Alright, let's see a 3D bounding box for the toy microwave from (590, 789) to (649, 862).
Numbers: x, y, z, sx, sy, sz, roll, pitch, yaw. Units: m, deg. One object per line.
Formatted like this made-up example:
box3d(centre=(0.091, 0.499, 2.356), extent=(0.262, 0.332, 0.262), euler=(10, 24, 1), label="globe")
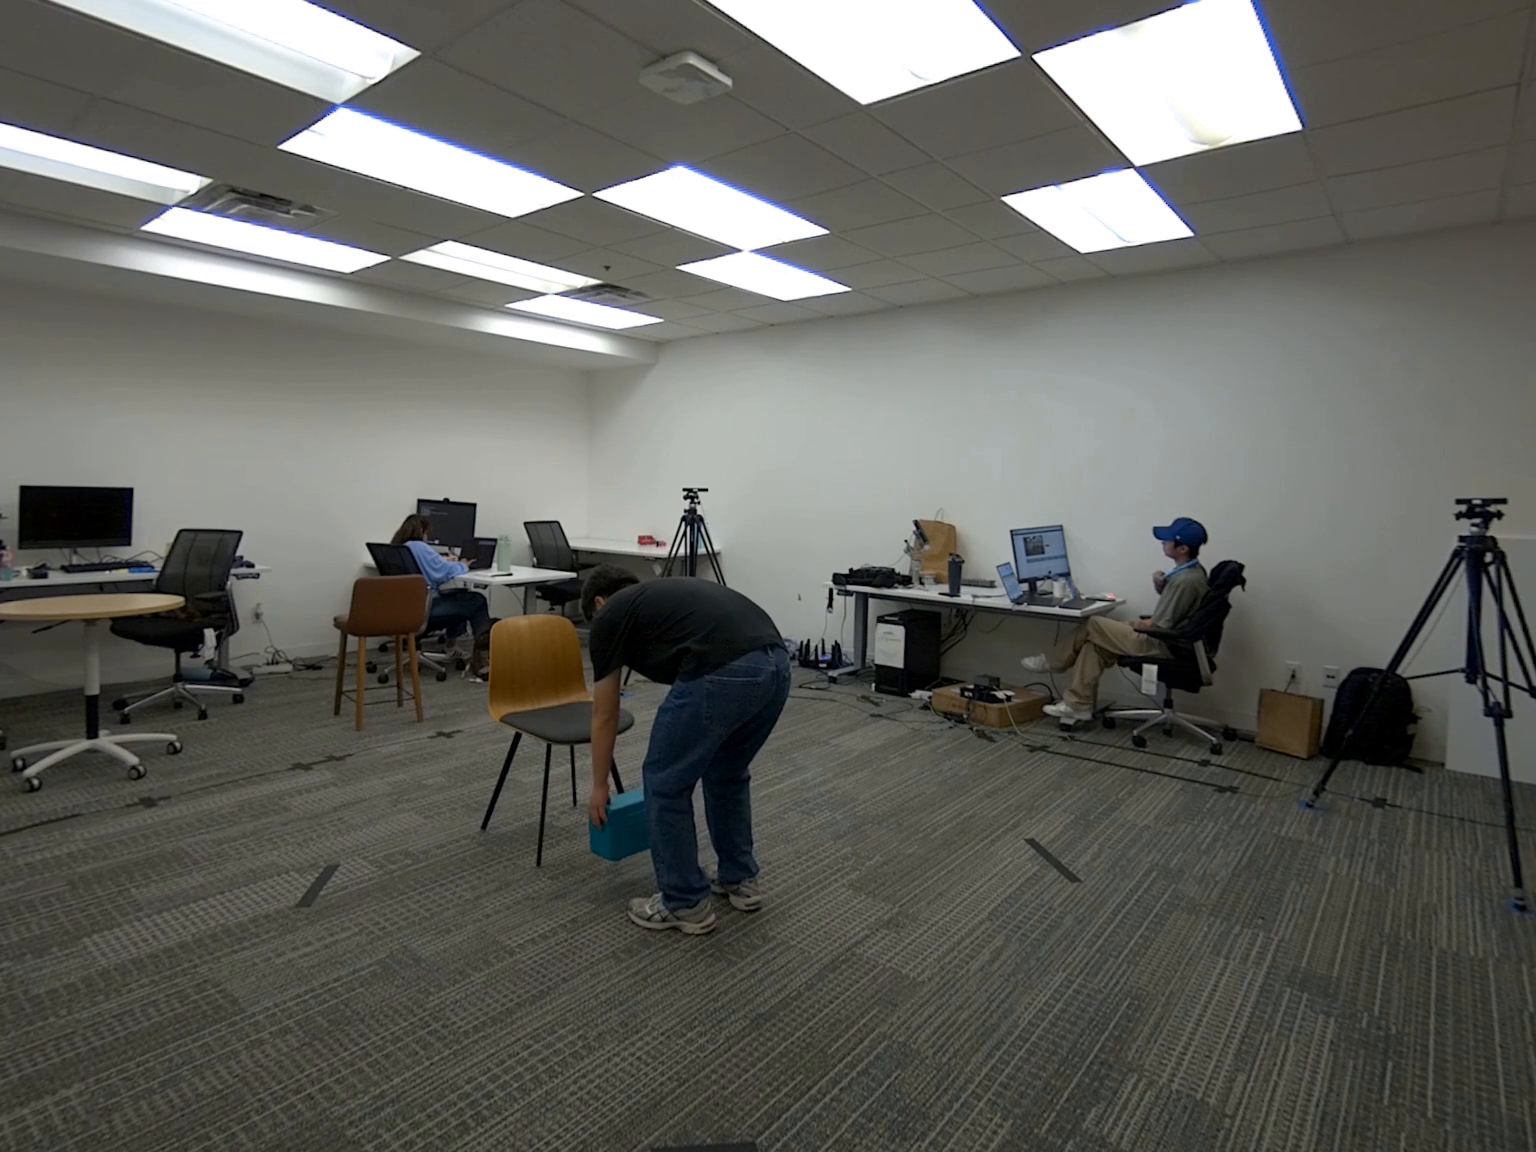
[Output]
box3d(centre=(-0.501, 0.864, 2.988), extent=(0.278, 0.184, 0.157), euler=(-7, 4, -40), label="toy microwave")
